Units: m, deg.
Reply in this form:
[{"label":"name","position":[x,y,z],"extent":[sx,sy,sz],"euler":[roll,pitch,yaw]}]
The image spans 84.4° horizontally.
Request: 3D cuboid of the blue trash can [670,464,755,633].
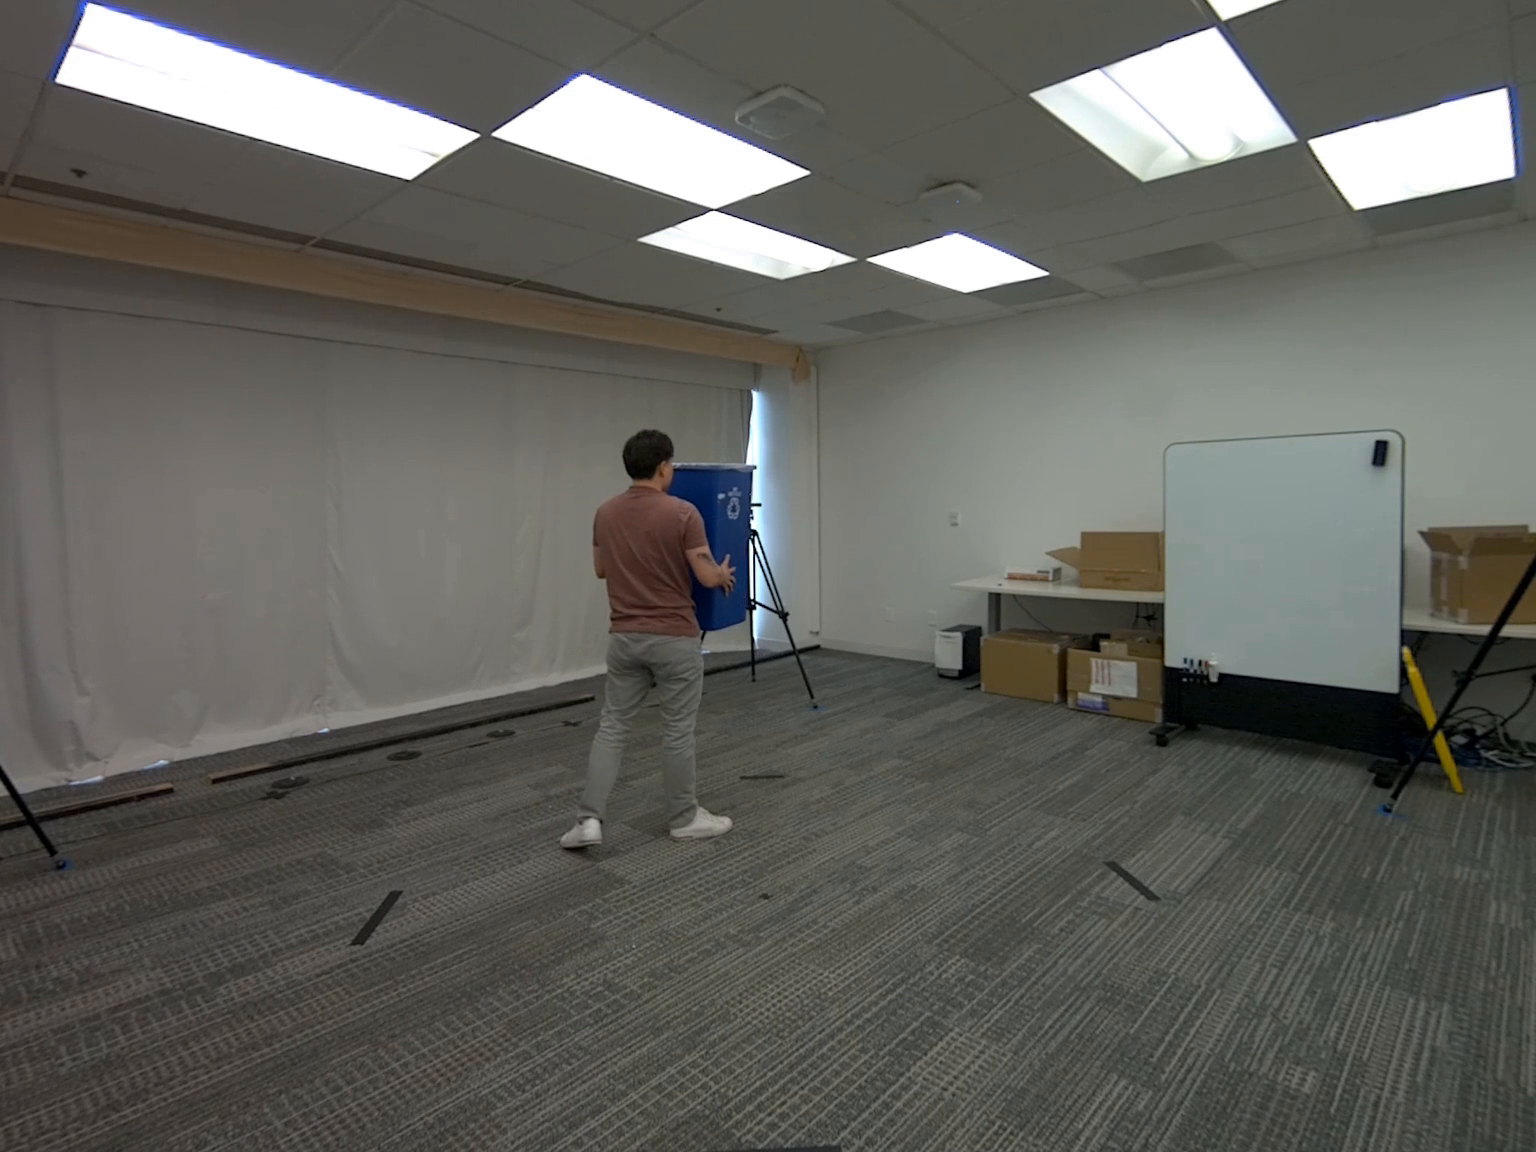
[{"label":"blue trash can","position":[-0.291,-0.143,3.764],"extent":[0.389,0.710,0.365],"euler":[5,8,28]}]
